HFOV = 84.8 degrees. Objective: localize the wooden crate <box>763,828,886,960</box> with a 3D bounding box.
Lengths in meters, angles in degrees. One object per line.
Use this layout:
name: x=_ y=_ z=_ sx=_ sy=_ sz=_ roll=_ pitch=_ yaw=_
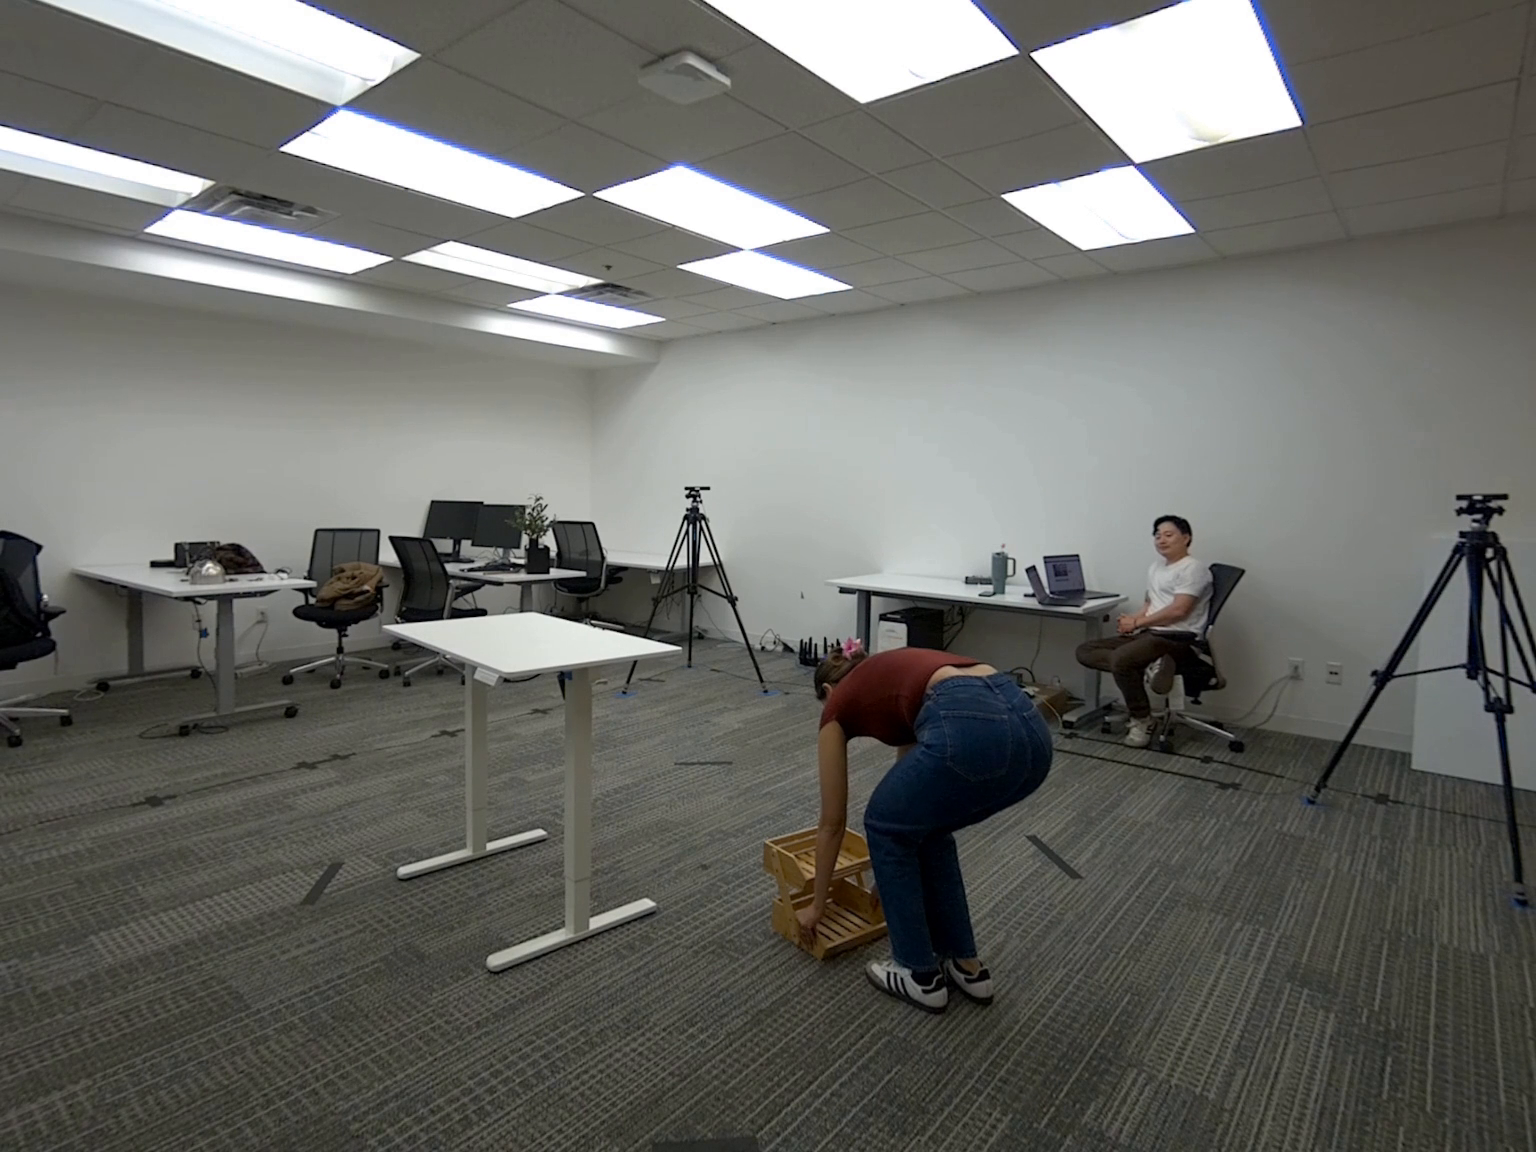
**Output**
wooden crate: x=0.187 y=0.975 z=2.691 sx=0.315 sy=0.272 sz=0.312 roll=-2 pitch=5 yaw=-37
